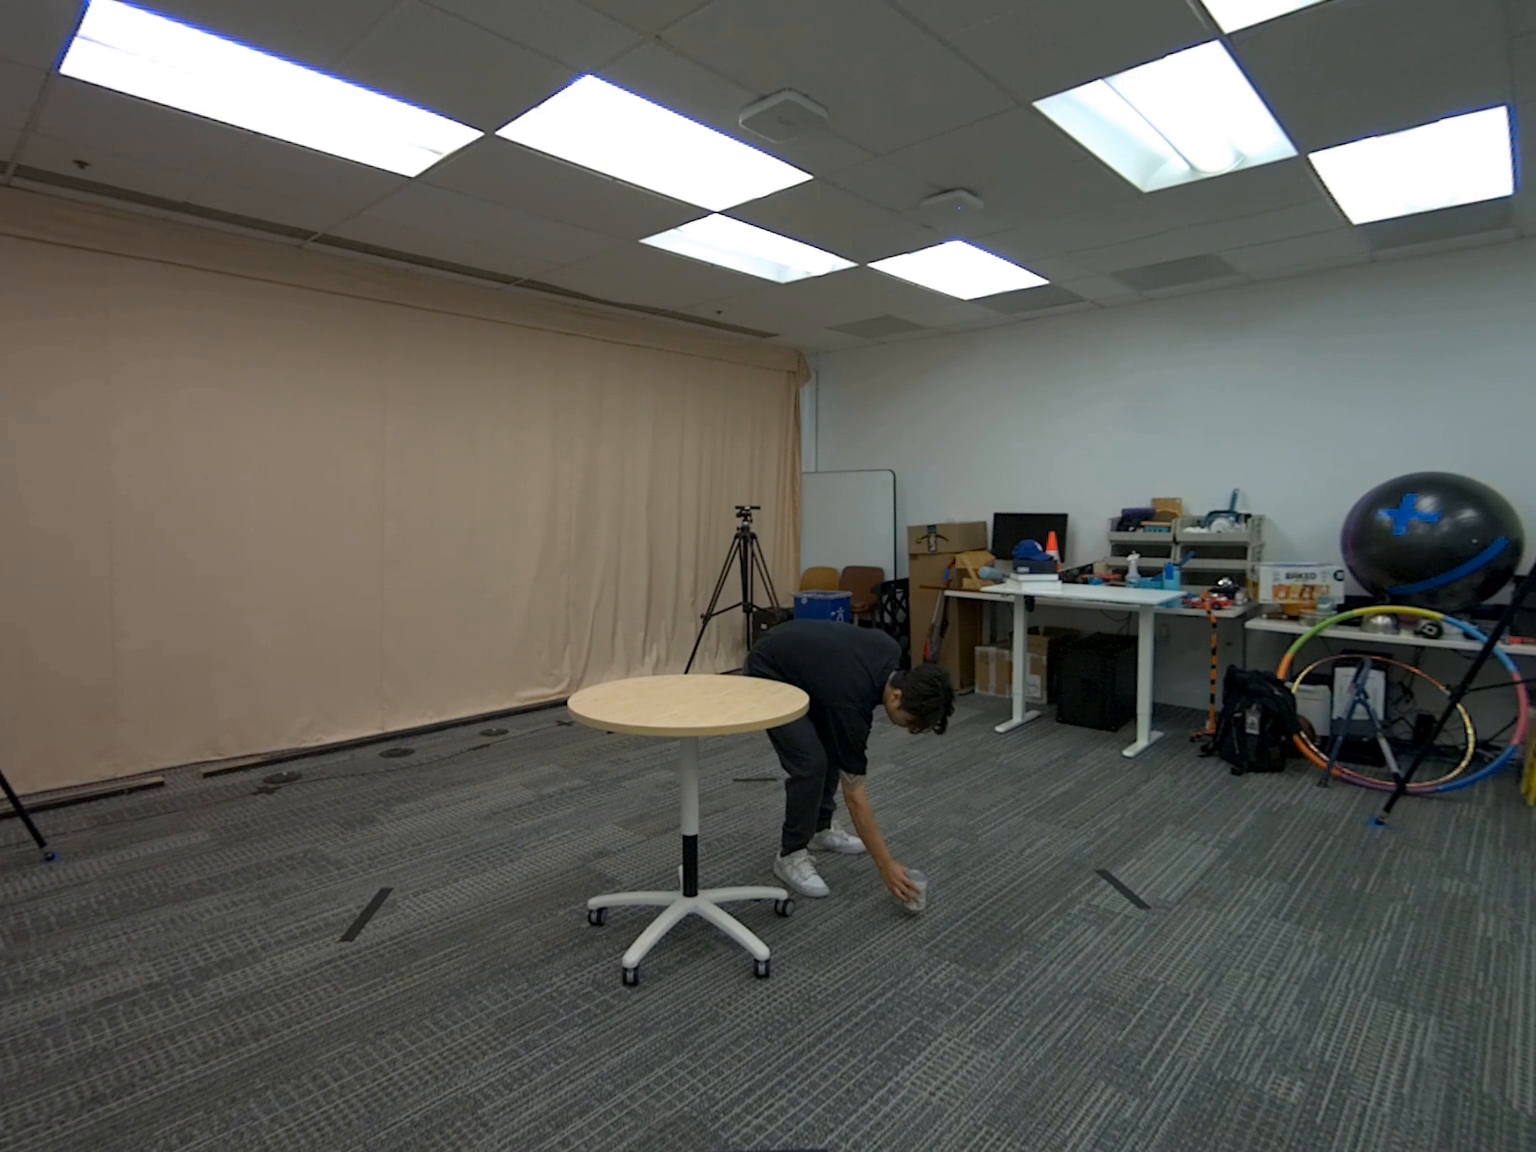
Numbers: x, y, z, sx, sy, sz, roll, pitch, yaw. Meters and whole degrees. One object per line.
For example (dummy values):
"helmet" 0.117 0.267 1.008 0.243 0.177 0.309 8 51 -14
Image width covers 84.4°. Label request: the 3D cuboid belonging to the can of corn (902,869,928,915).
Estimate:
"can of corn" 0.503 1.071 2.839 0.074 0.111 0.074 3 0 -2
